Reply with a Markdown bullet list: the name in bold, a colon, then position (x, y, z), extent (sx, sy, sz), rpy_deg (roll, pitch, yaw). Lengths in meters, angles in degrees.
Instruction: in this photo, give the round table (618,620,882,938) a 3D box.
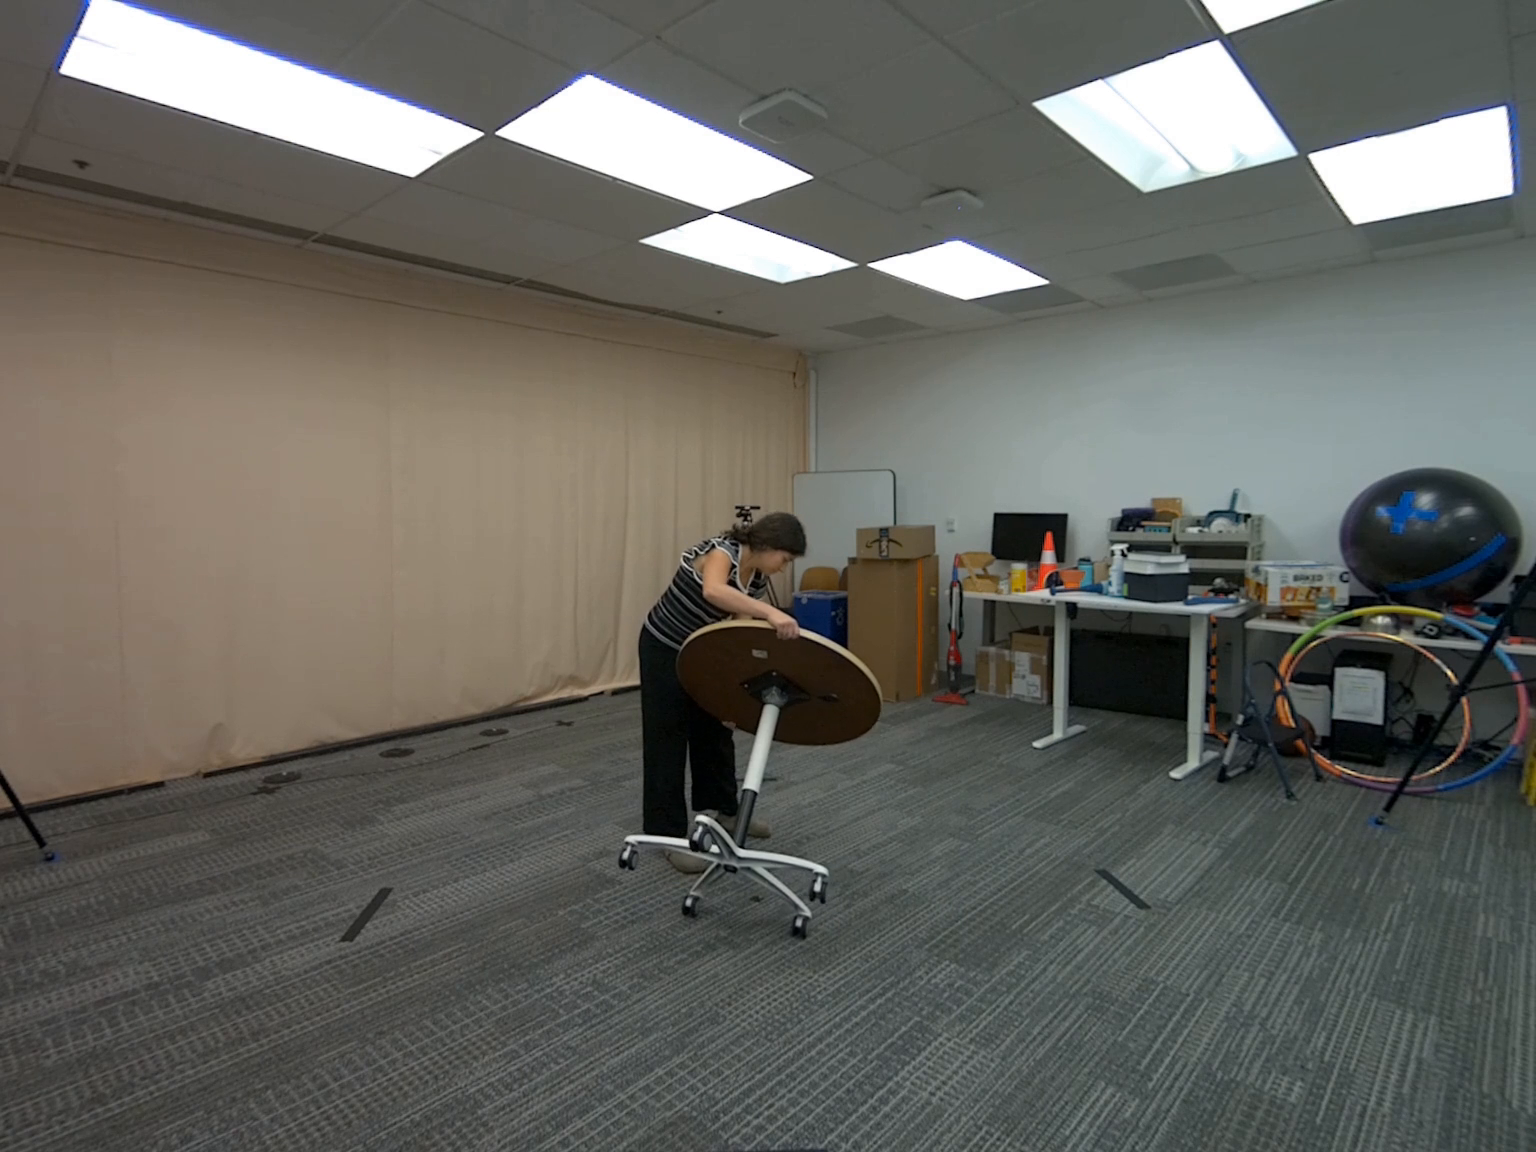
- **round table**: position (-0.049, 0.699, 2.858), extent (0.772, 0.800, 0.750), rpy_deg (11, -39, 8)
